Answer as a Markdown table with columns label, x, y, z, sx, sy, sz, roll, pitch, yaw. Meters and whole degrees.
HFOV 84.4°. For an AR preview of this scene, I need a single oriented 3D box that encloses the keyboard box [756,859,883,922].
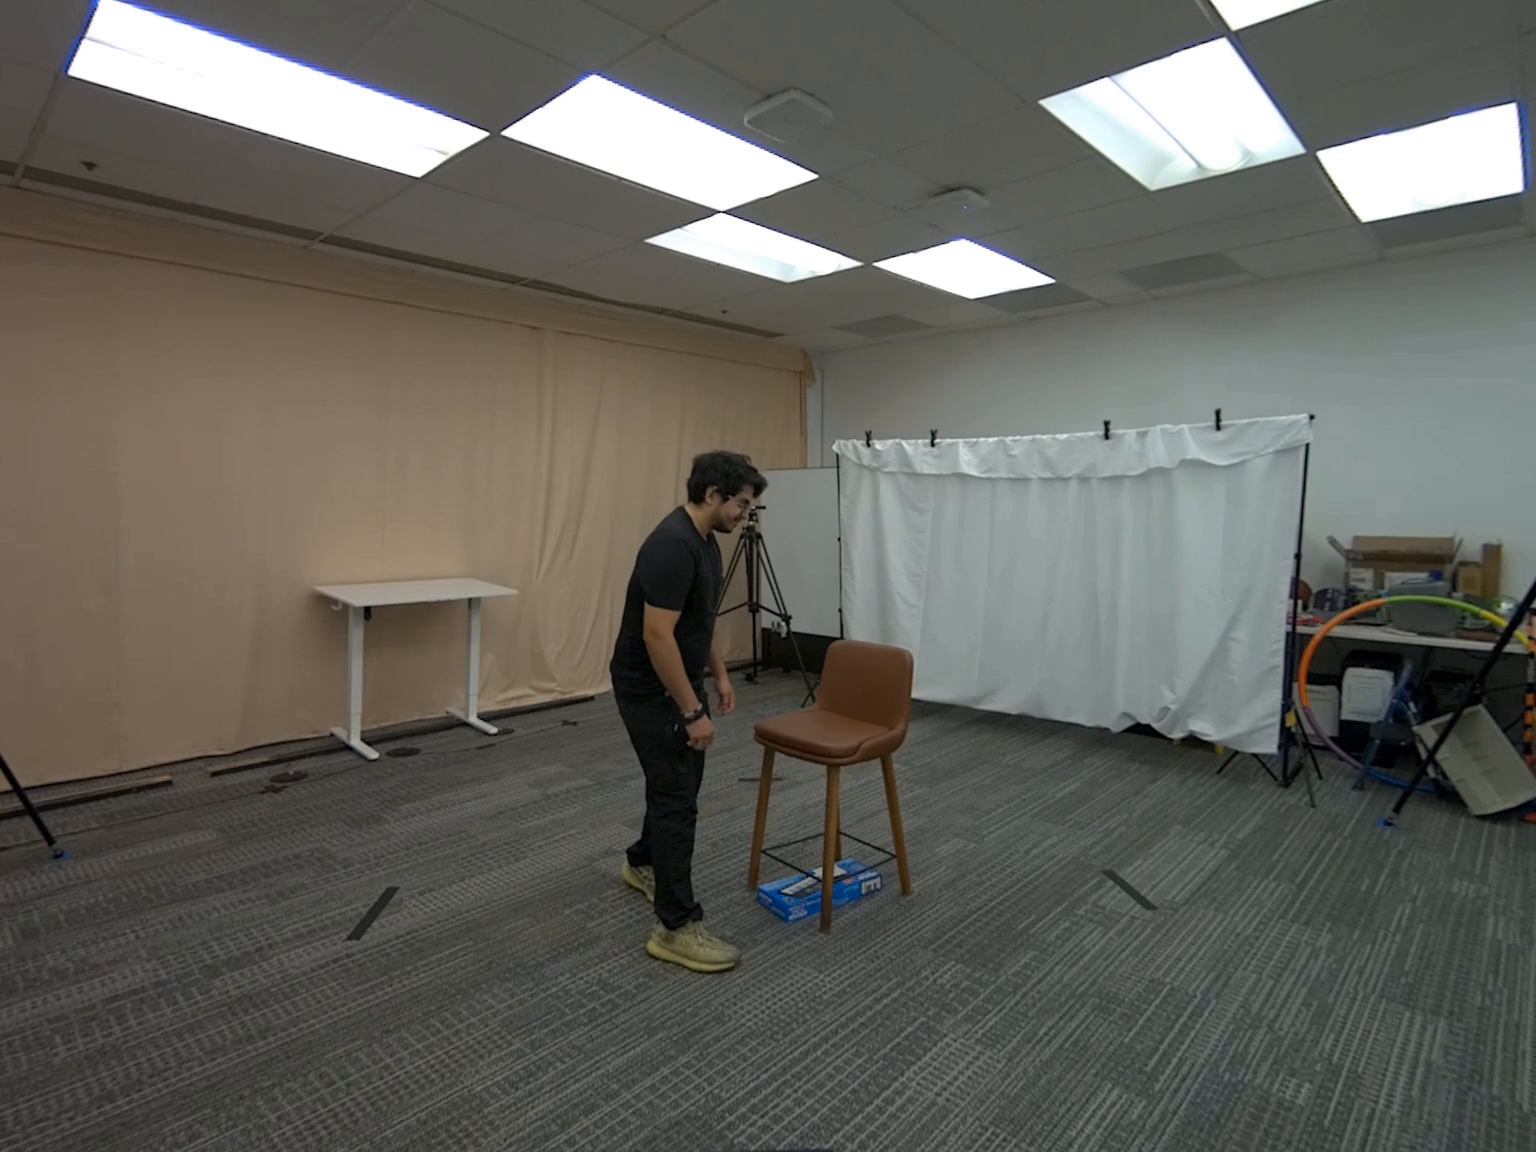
| label | x | y | z | sx | sy | sz | roll | pitch | yaw |
| --- | --- | --- | --- | --- | --- | --- | --- | --- | --- |
| keyboard box | 0.195 | 1.115 | 2.999 | 0.424 | 0.059 | 0.181 | -3 | 6 | -35 |
